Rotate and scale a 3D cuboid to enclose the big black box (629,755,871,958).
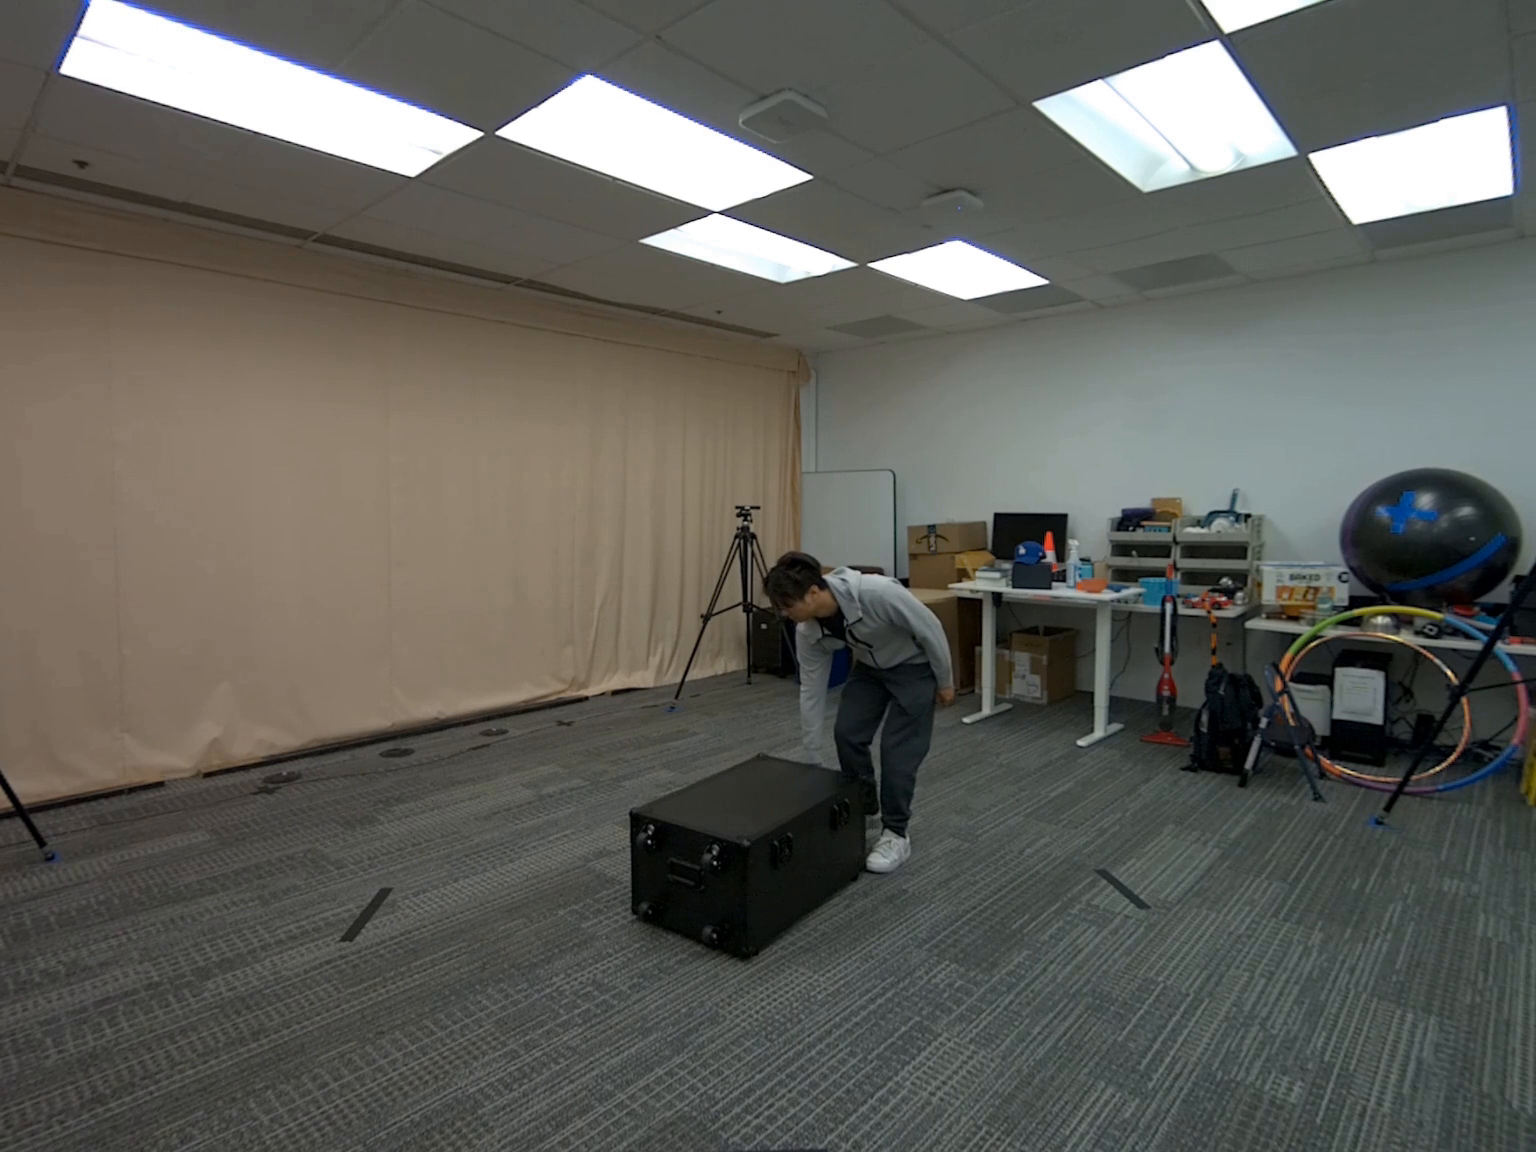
[{"bbox_3d":[-0.029,0.953,3.011,0.538,0.395,0.837,3,6,34],"label":"big black box"}]
